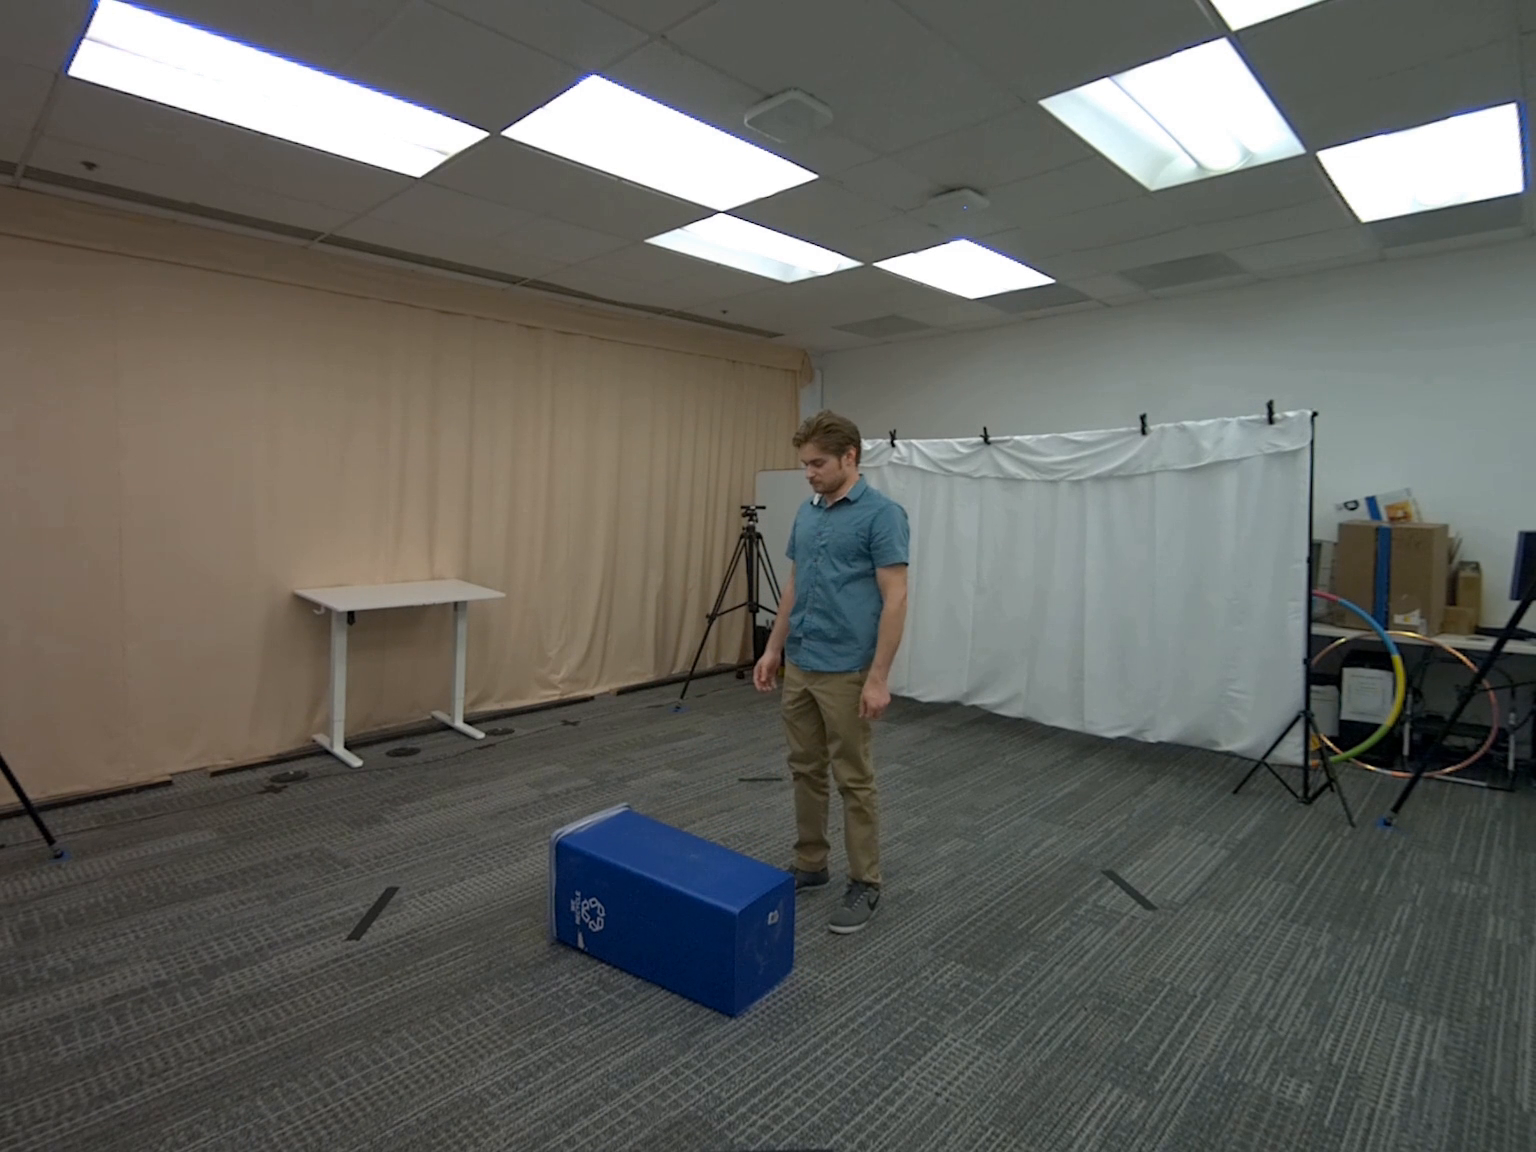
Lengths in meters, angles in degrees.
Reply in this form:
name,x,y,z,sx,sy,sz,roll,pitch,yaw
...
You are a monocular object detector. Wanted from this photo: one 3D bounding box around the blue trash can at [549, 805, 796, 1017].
name,x,y,z,sx,sy,sz,roll,pitch,yaw
blue trash can,-0.295,1.014,2.603,0.737,0.377,0.363,6,6,35
